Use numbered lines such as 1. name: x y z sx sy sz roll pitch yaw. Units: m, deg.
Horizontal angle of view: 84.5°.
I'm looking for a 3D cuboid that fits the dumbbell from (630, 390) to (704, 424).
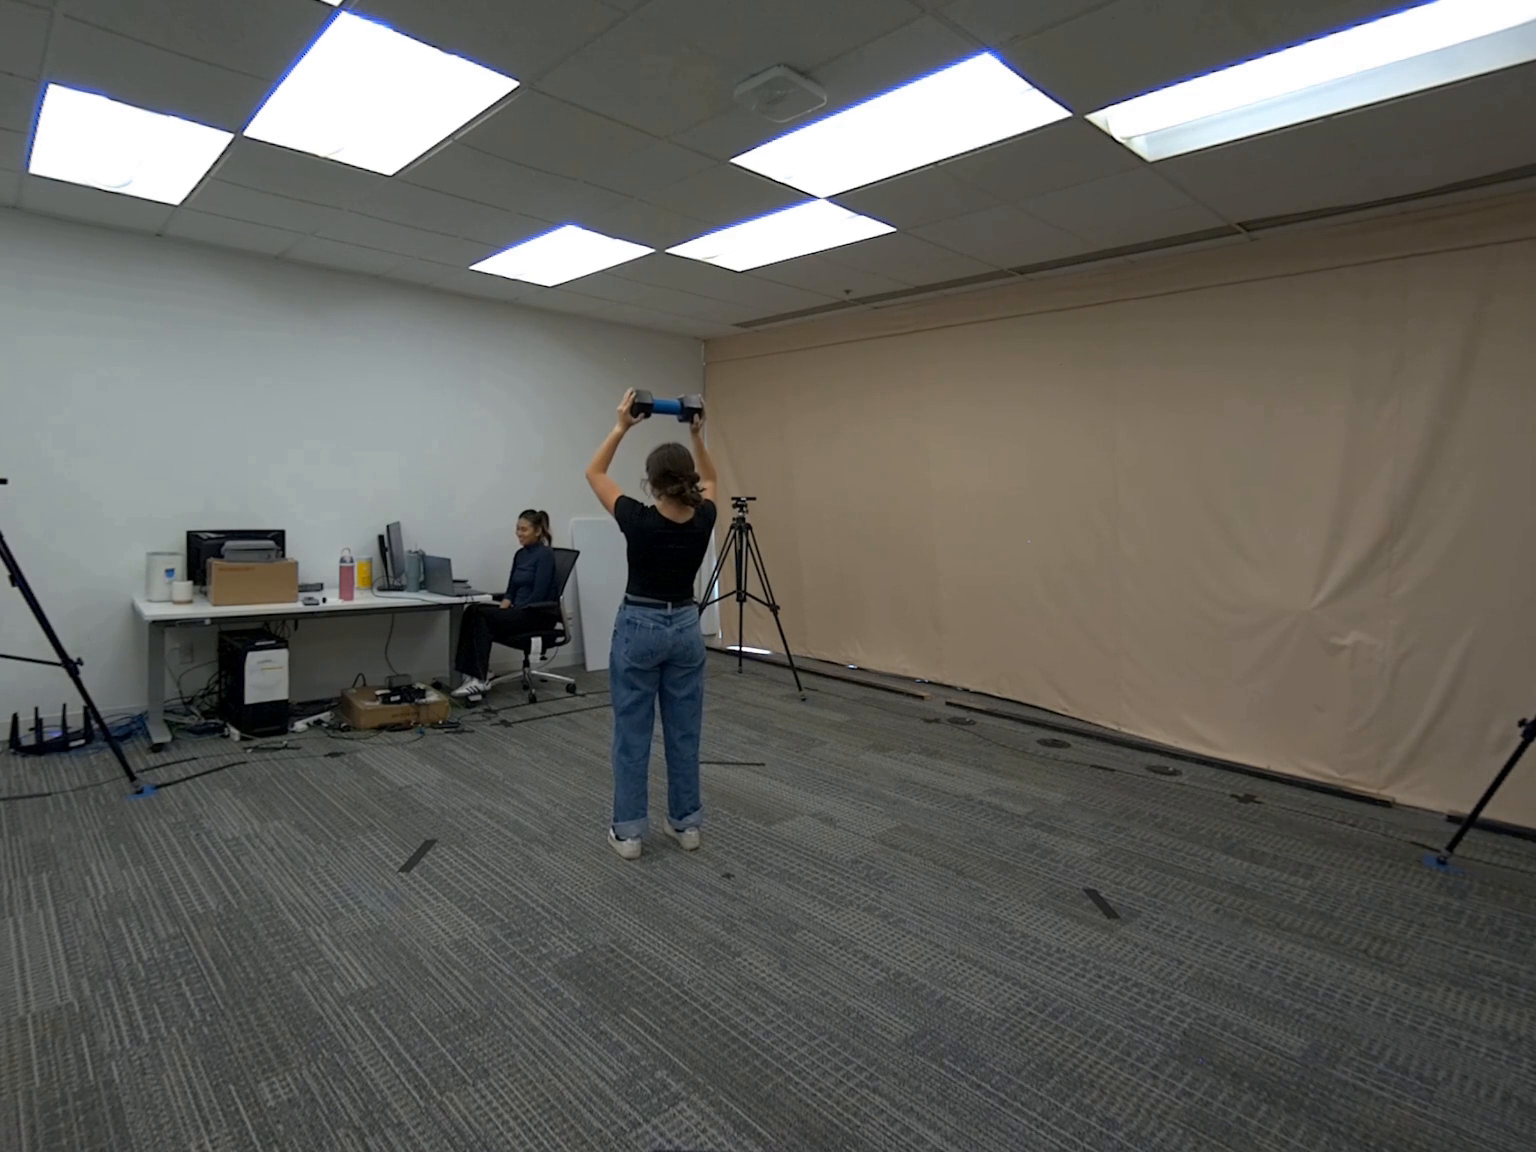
1. dumbbell: -0.418 -0.668 3.338 0.288 0.126 0.108 0 -30 -28
